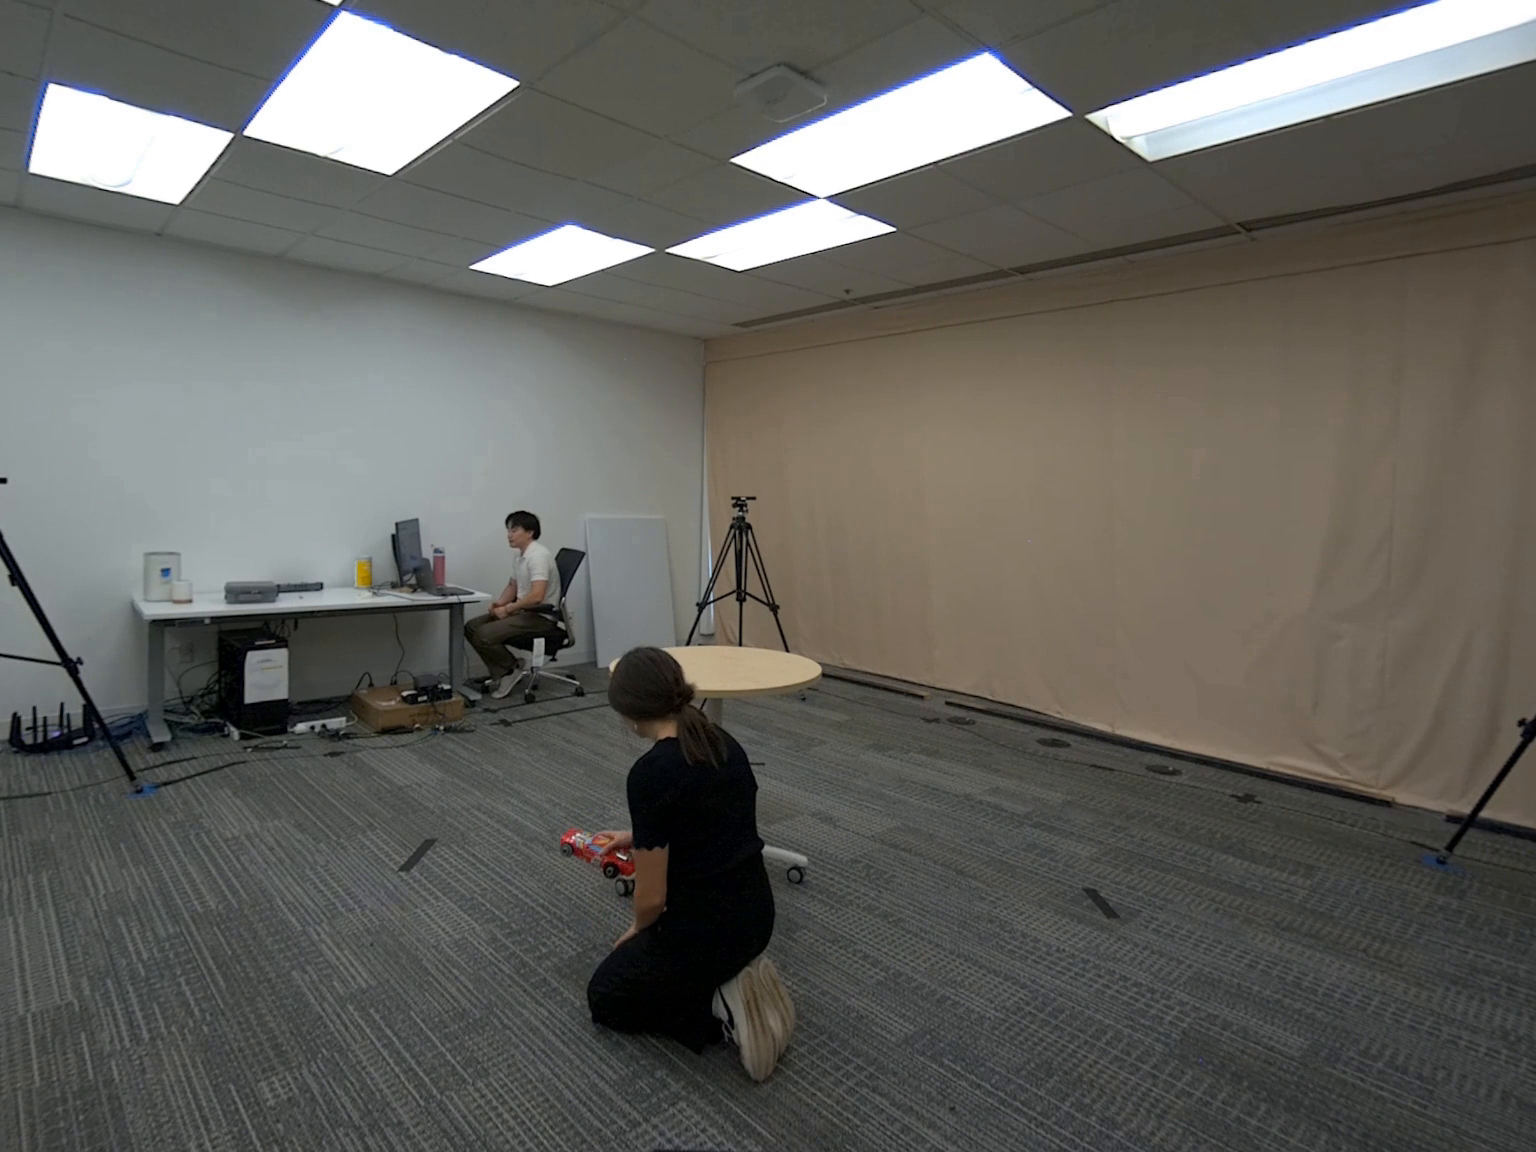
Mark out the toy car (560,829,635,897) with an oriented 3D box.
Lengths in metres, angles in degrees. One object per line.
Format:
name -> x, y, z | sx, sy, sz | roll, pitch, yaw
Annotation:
toy car -> -0.499, 0.834, 2.489 | 0.257, 0.083, 0.129 | 10, 3, 11
